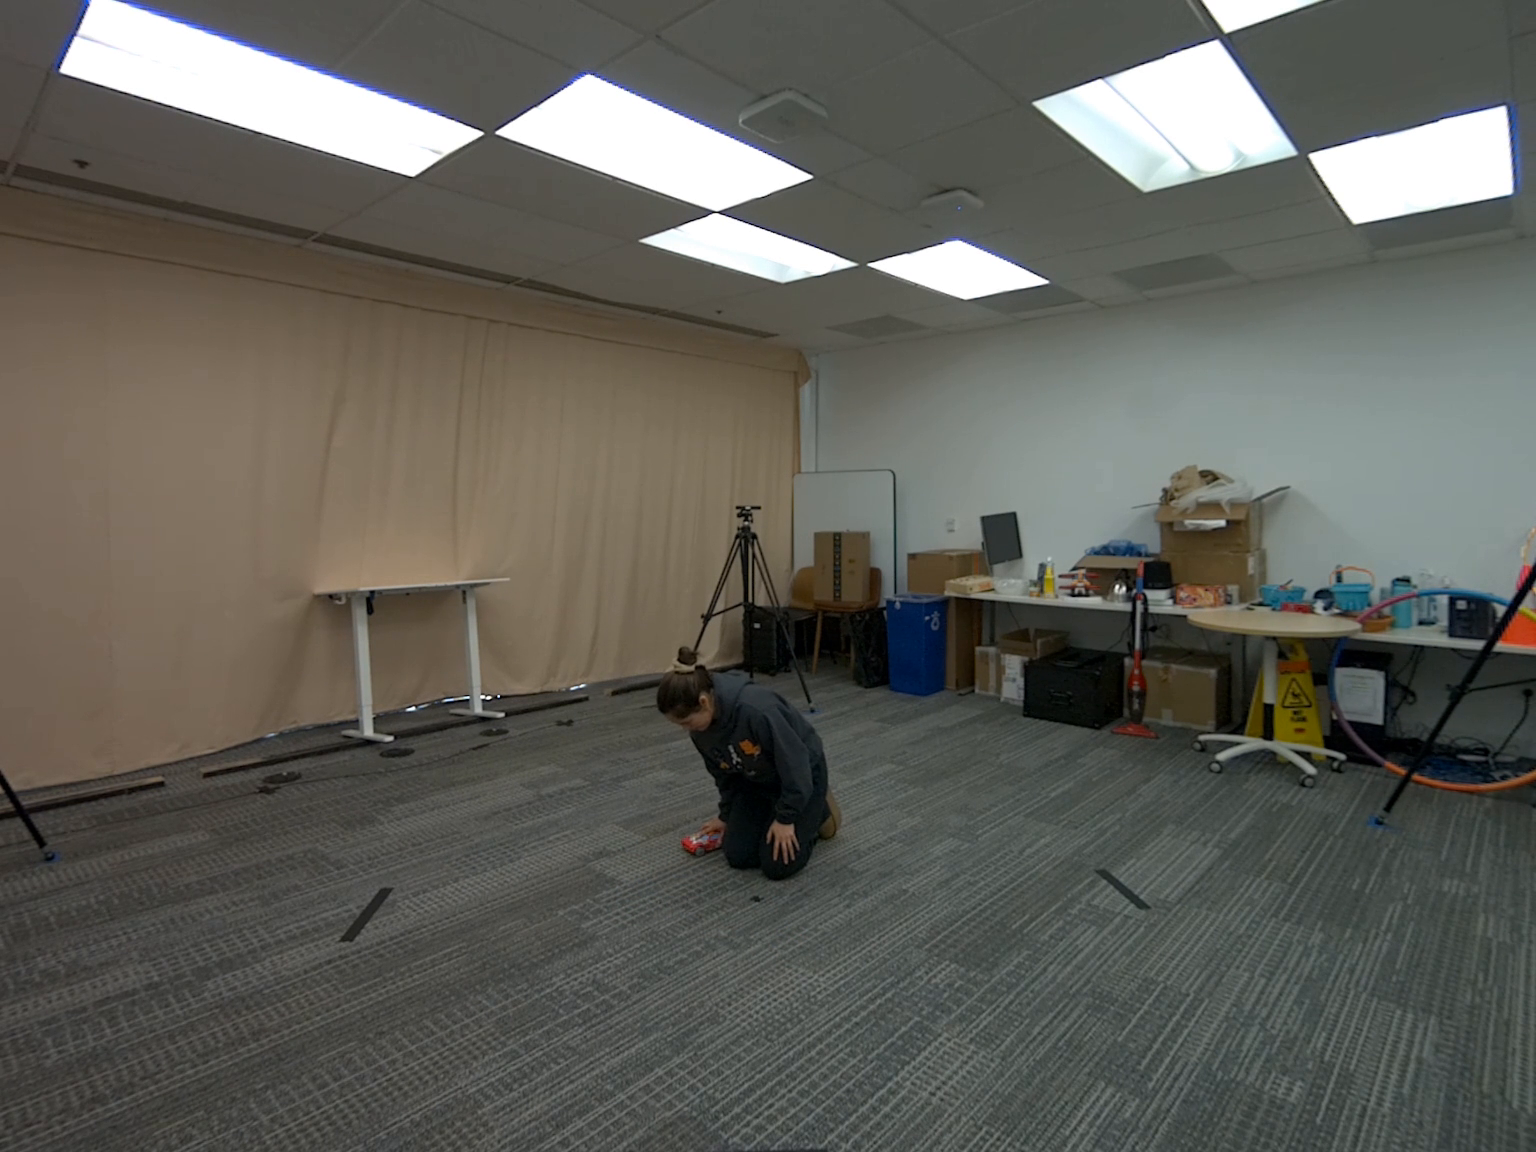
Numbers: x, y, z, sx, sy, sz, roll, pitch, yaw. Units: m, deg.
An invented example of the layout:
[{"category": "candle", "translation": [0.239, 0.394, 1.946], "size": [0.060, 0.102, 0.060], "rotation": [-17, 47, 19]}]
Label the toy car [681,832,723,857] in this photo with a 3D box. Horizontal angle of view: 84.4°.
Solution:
[{"category": "toy car", "translation": [-0.208, 1.078, 3.440], "size": [0.249, 0.082, 0.134], "rotation": [-17, 10, -29]}]
